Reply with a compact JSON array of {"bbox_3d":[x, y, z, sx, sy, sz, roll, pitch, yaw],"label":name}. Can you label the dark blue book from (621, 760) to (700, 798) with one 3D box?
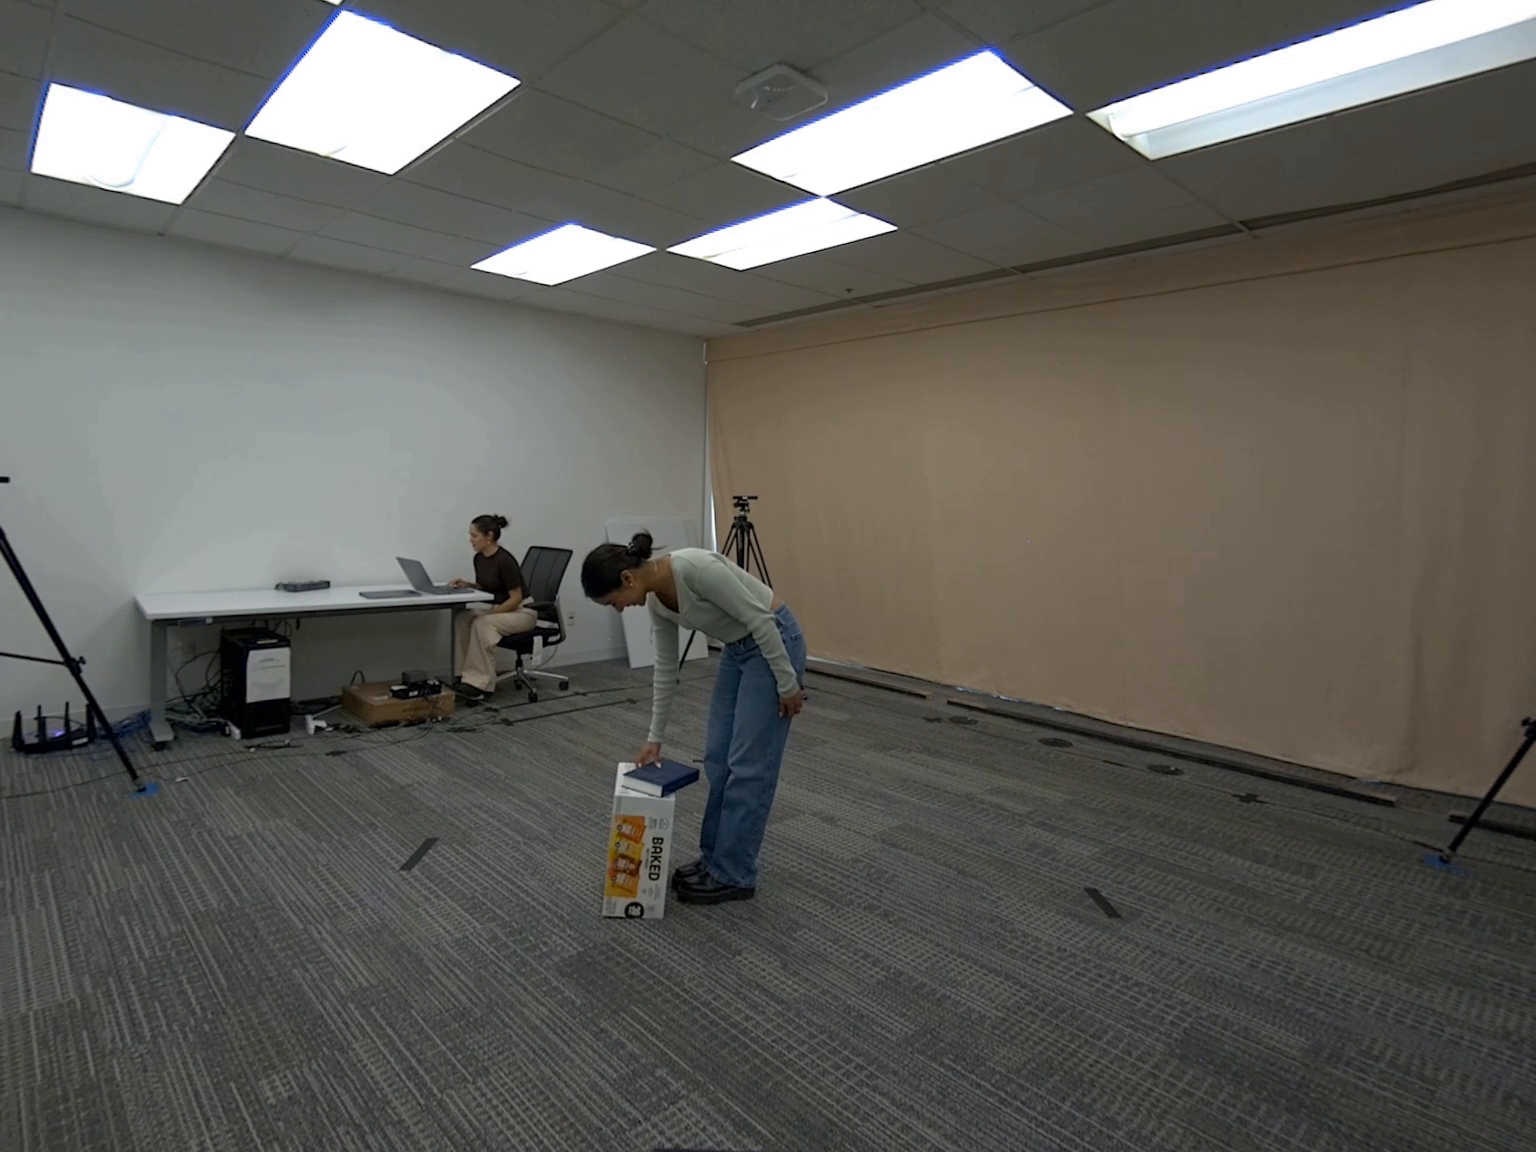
[{"bbox_3d":[-0.372,0.694,2.887,0.167,0.045,0.240,8,5,25],"label":"dark blue book"}]
